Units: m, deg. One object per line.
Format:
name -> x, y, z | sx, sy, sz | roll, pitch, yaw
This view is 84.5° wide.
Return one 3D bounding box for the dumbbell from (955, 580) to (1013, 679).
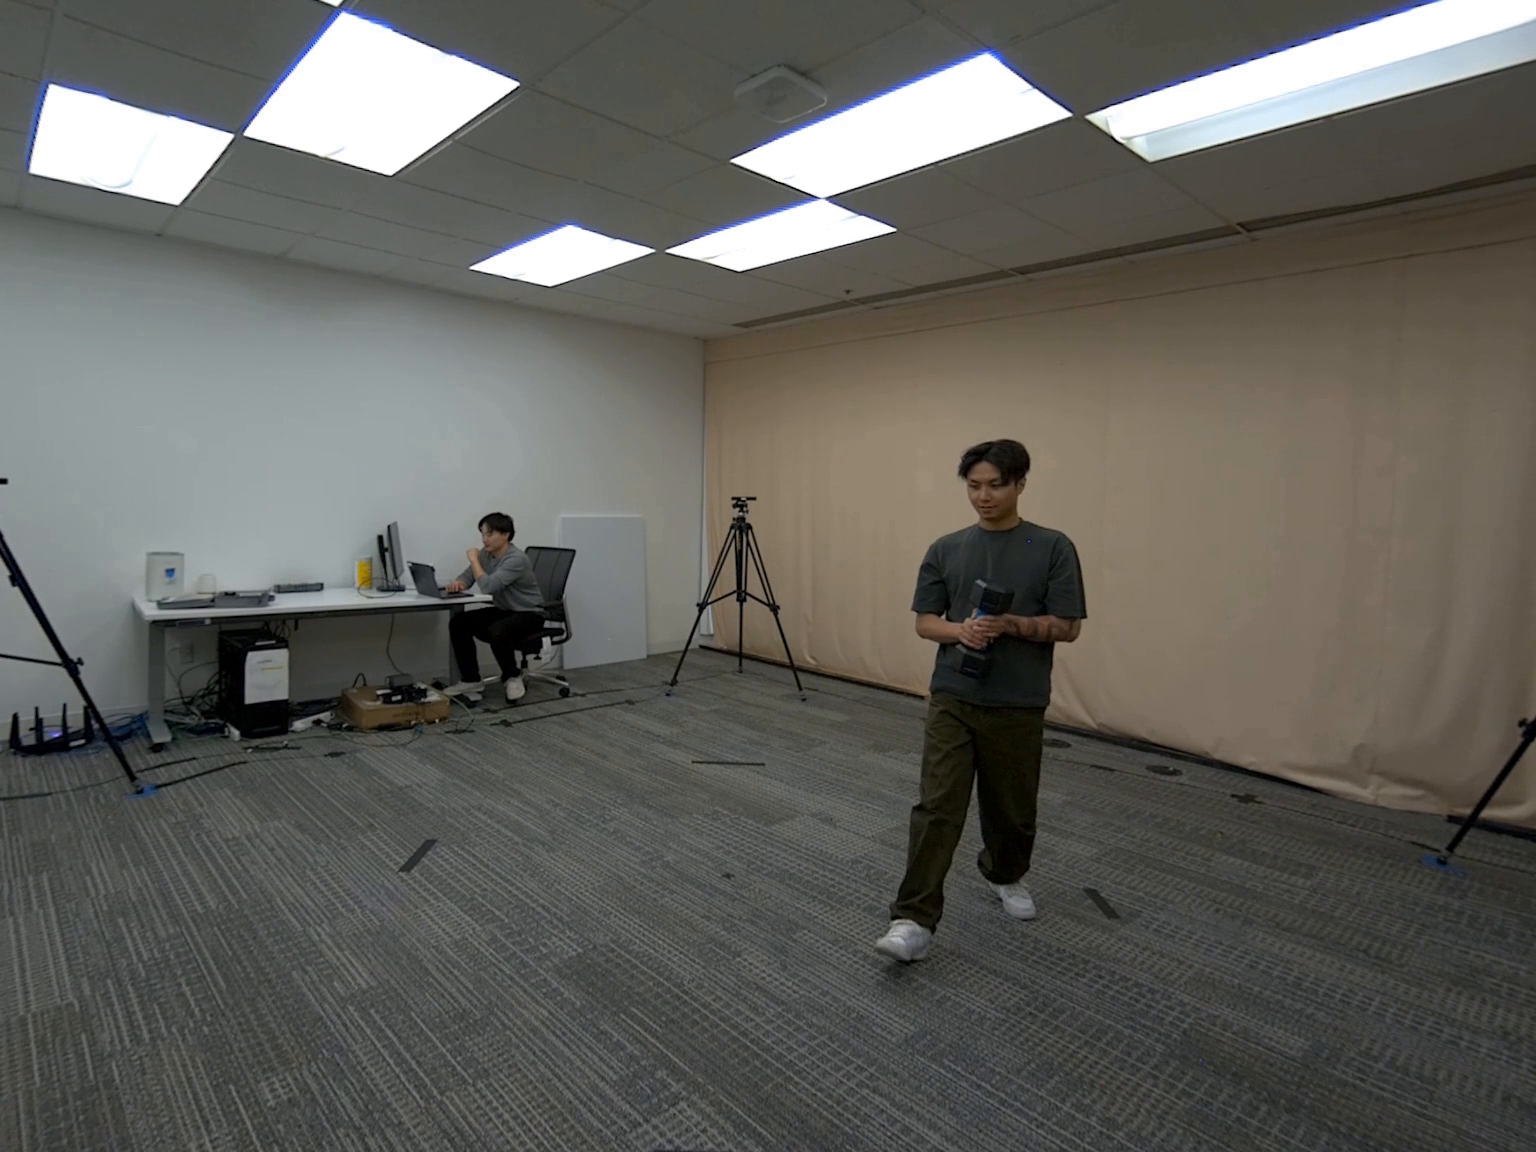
dumbbell -> 0.641, 0.161, 2.578 | 0.107, 0.292, 0.125 | 11, 12, -15
